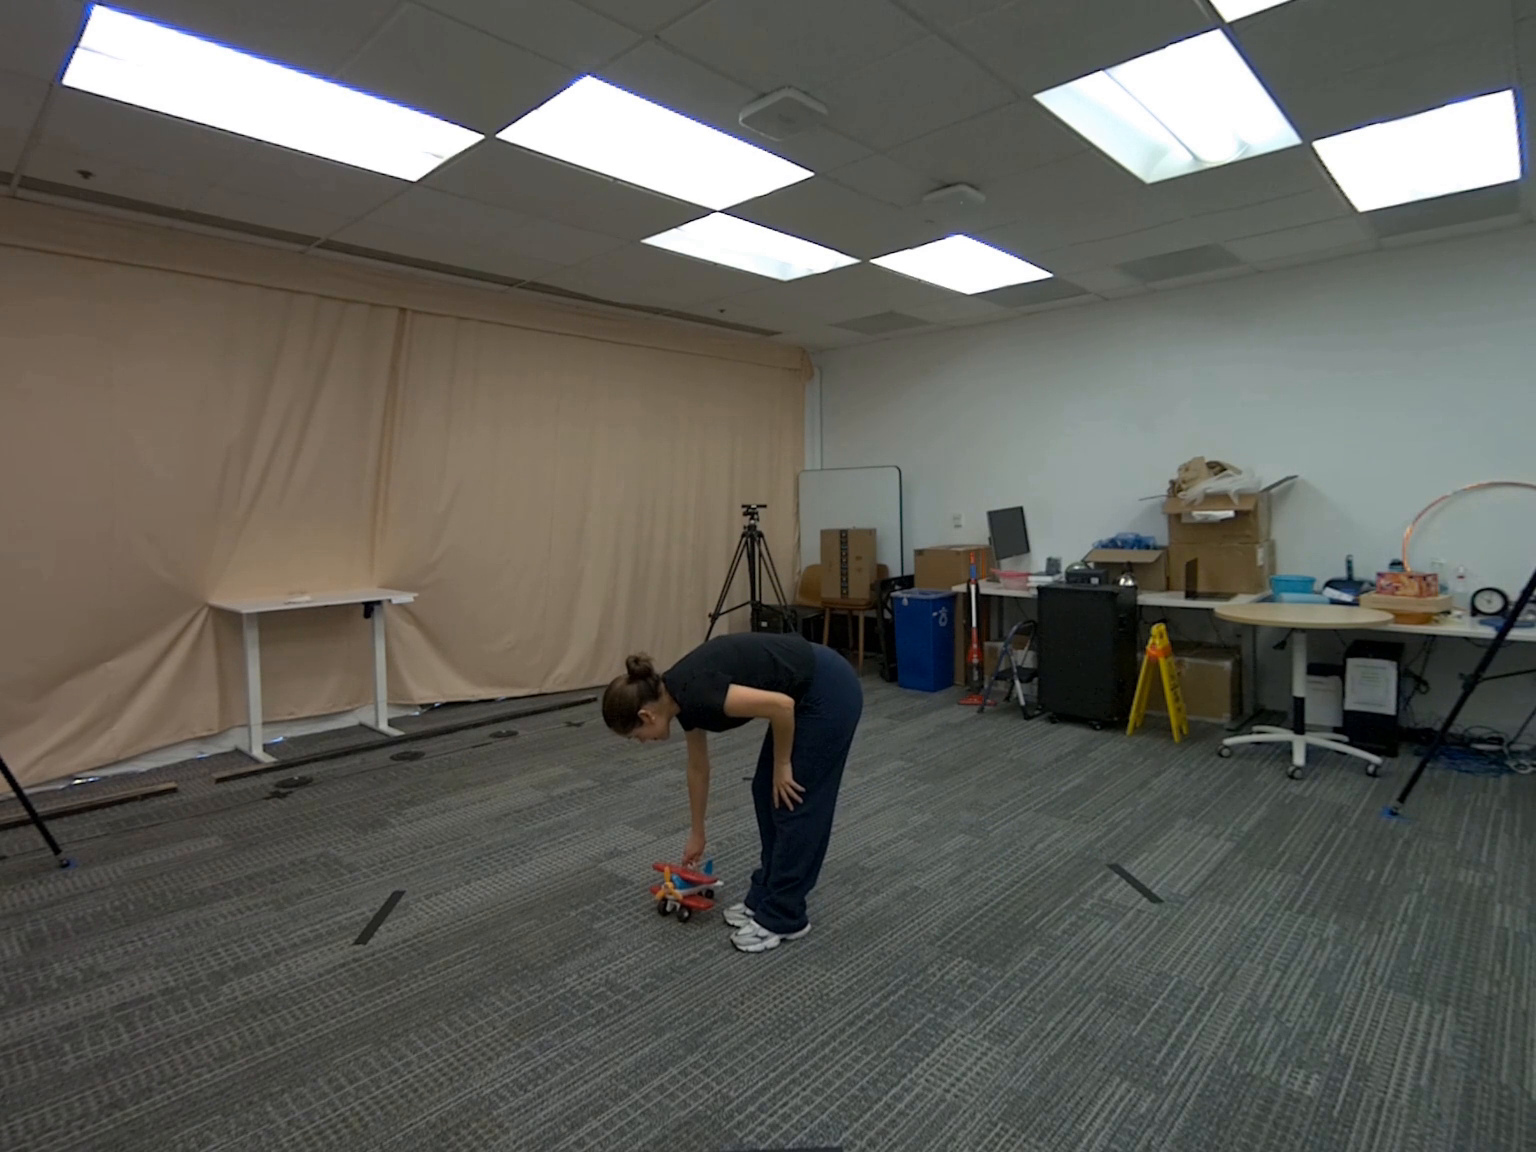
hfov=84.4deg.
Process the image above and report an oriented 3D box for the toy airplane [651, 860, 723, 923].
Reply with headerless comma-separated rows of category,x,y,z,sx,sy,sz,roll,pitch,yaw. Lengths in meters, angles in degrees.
toy airplane,-0.270,1.084,2.926,0.253,0.156,0.258,-1,6,5
